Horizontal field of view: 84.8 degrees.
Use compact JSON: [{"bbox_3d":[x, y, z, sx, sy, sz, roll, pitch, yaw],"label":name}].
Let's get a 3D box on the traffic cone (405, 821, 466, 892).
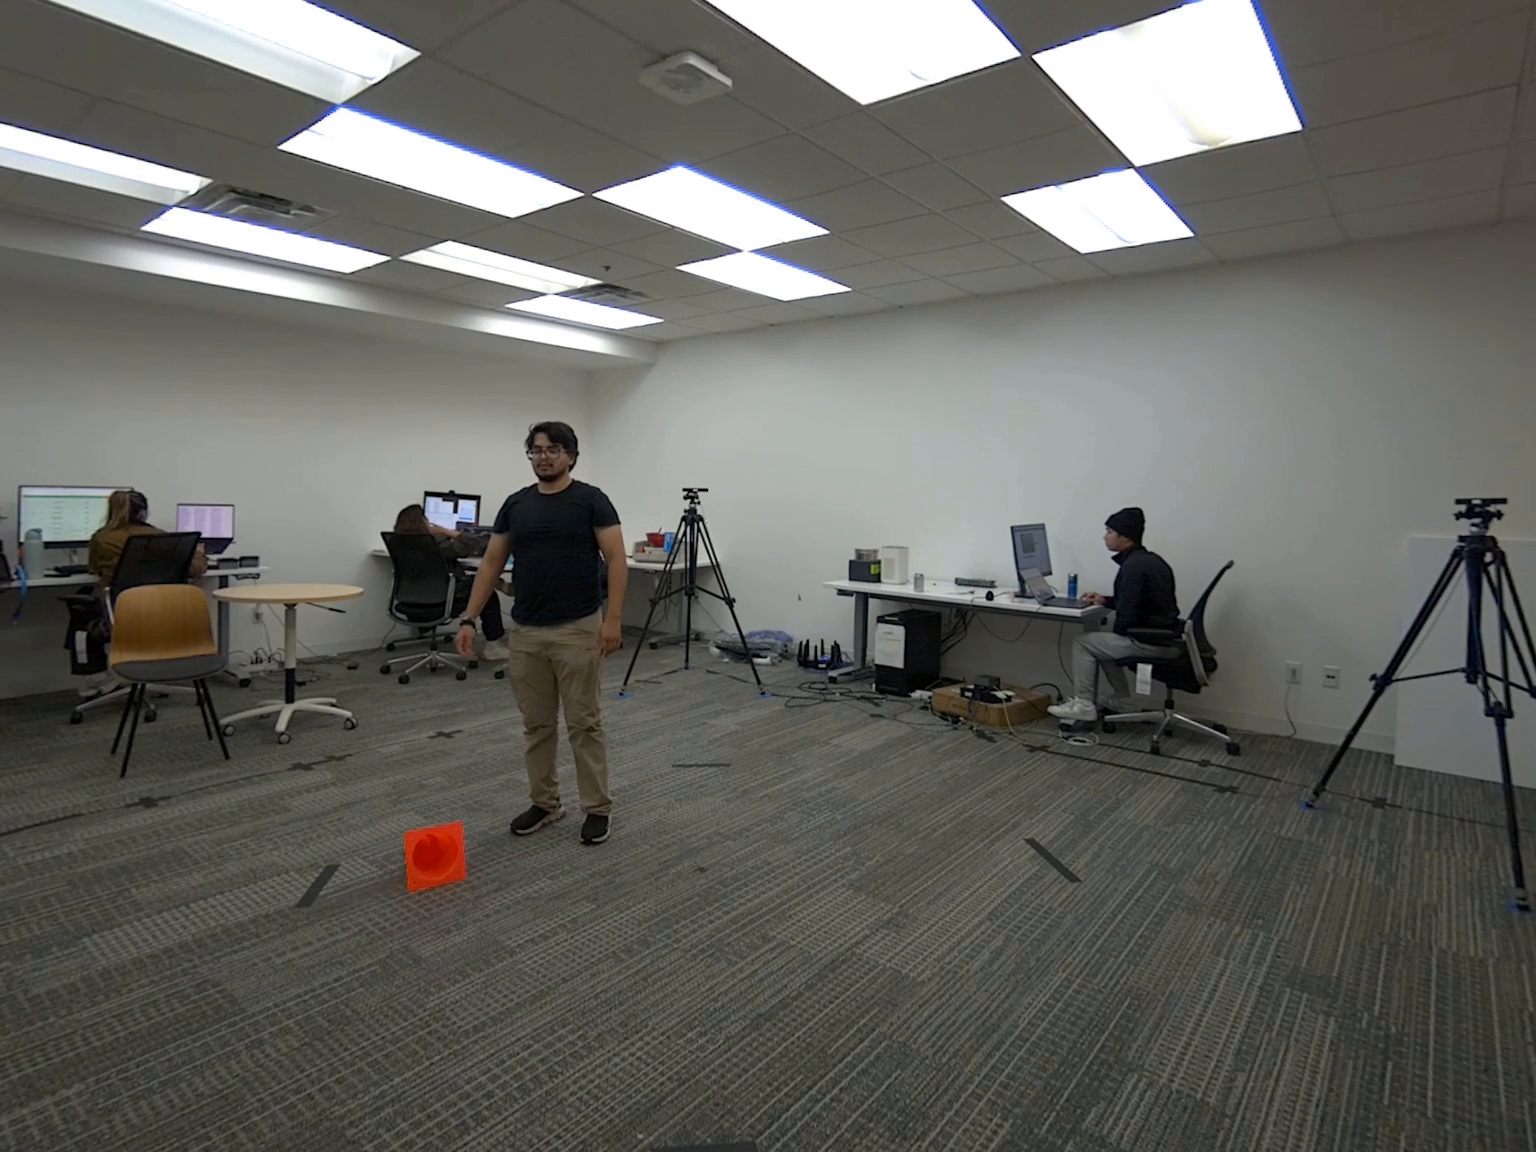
[{"bbox_3d":[-1.280,1.005,3.121,0.199,0.205,0.391,-3,-8,-33],"label":"traffic cone"}]
